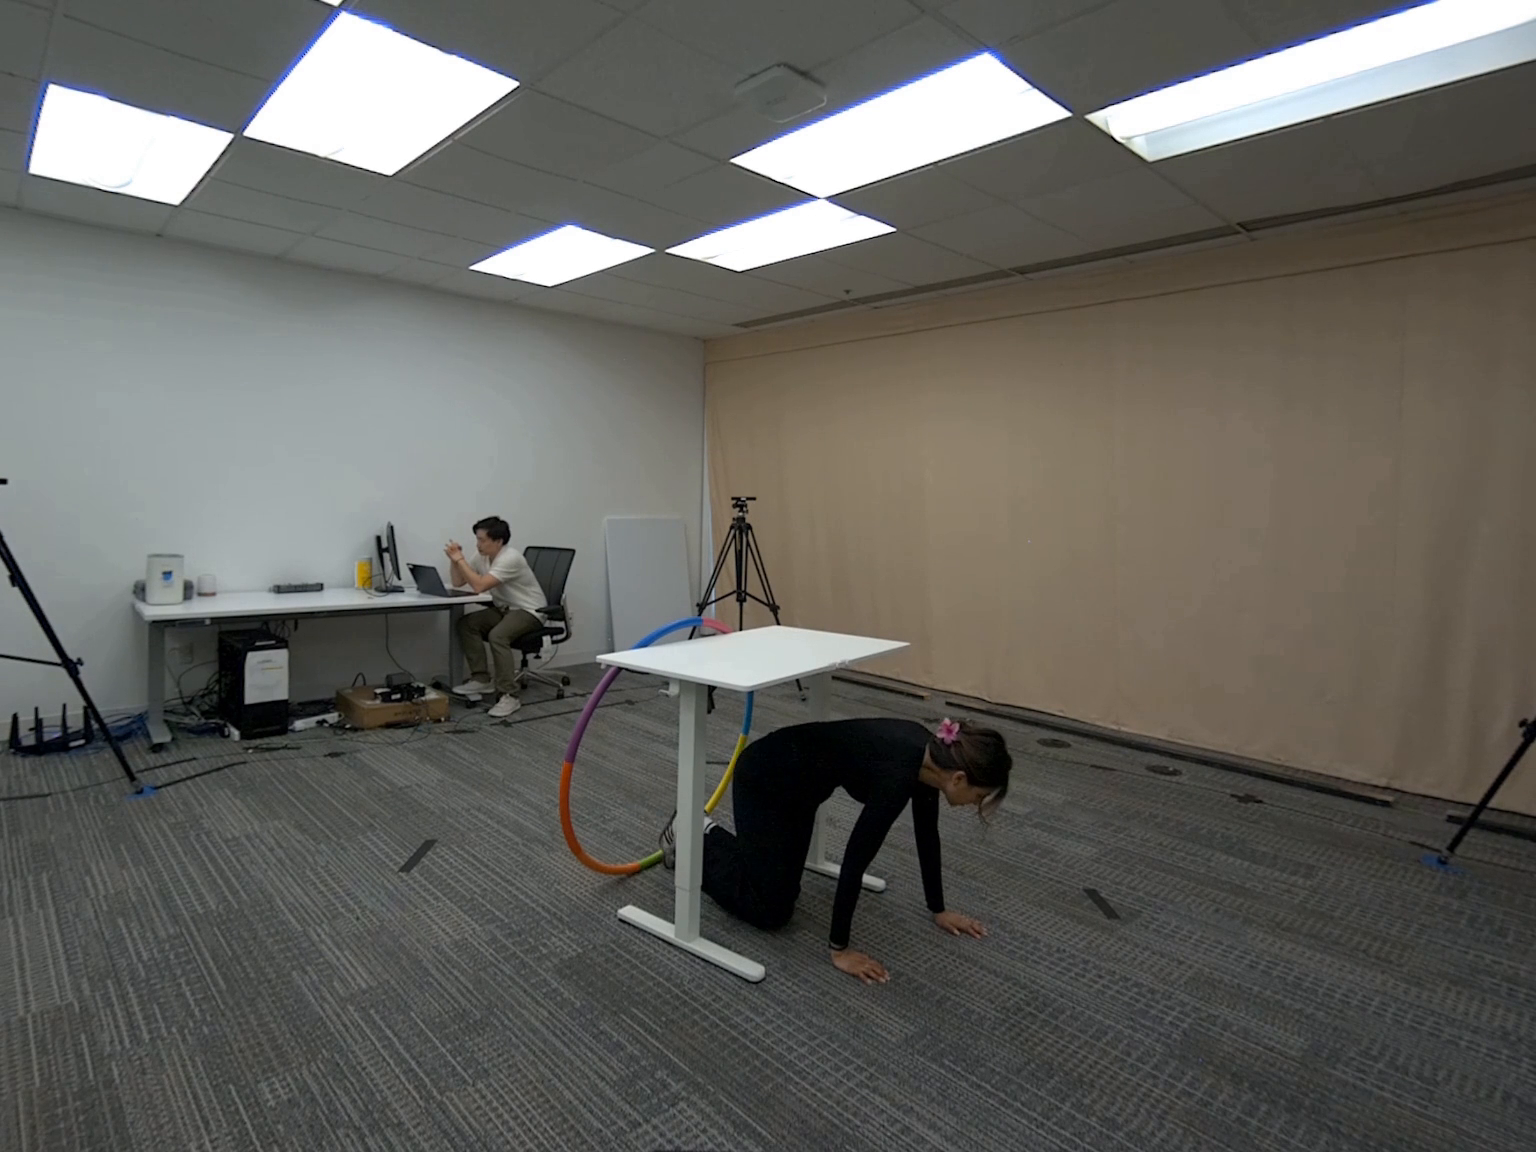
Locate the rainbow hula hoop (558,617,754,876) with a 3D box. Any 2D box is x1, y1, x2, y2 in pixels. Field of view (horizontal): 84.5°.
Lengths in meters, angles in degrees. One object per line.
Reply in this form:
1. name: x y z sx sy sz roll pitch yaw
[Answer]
1. rainbow hula hoop: -0.372 0.622 3.087 0.036 0.972 0.958 18 13 34
